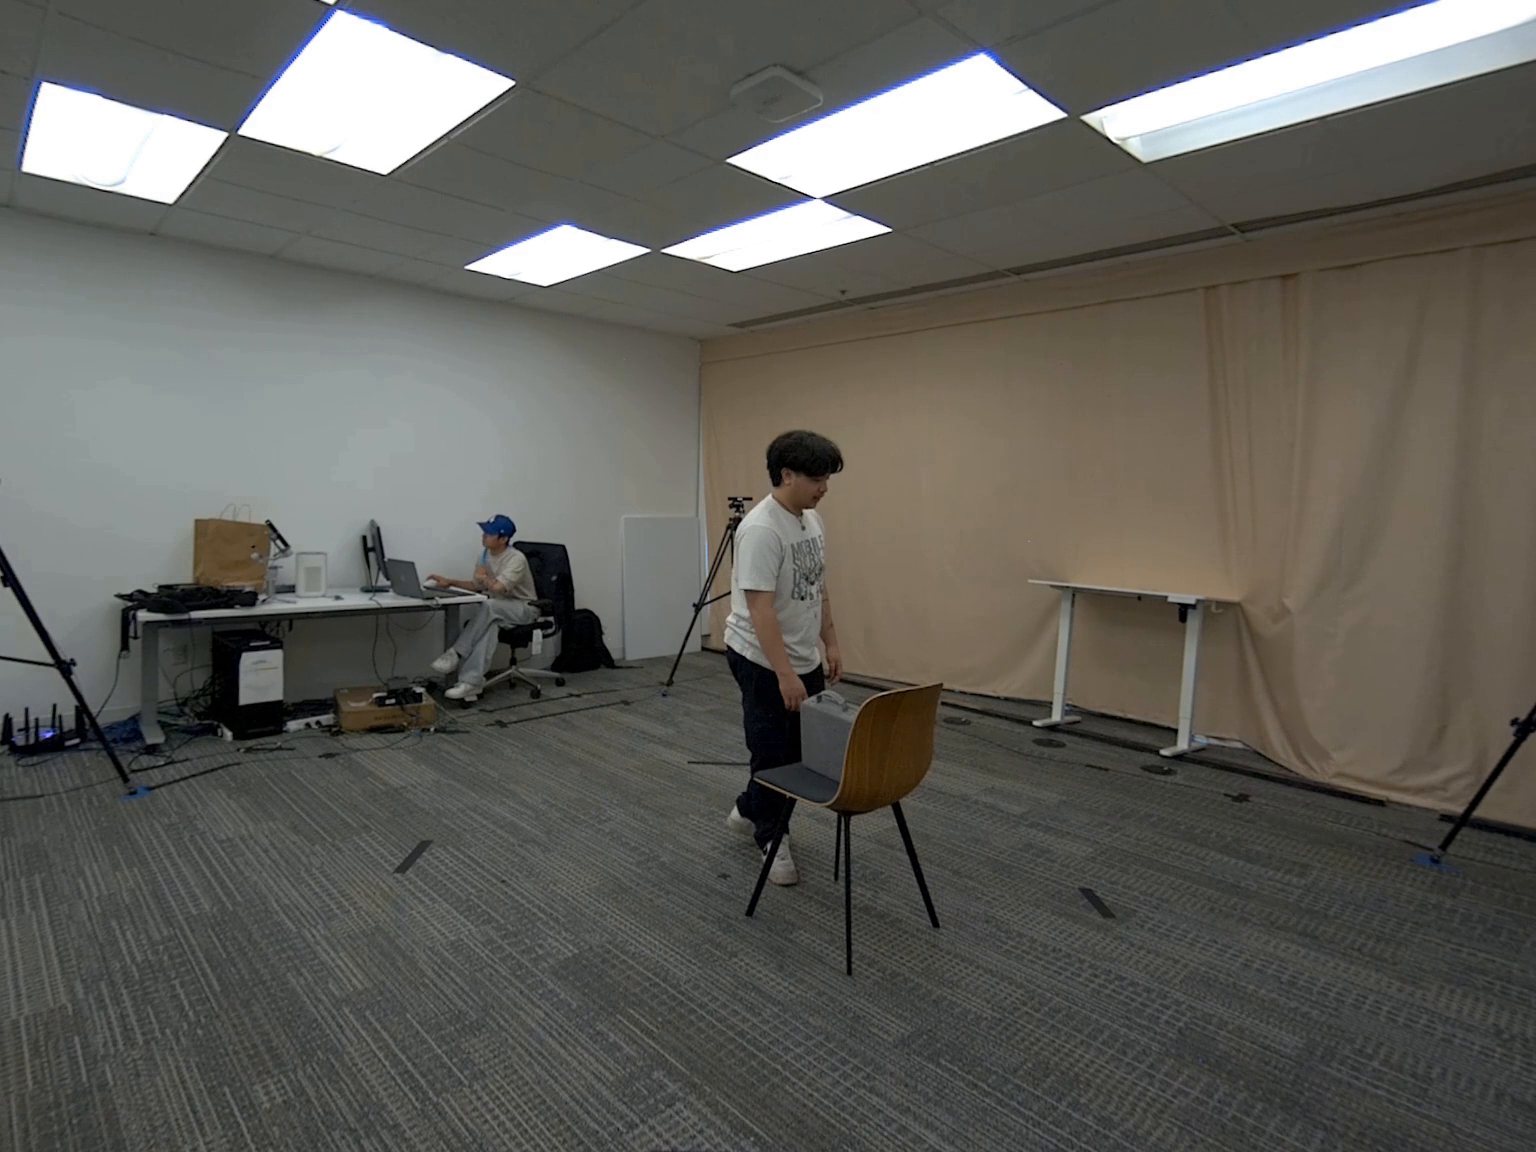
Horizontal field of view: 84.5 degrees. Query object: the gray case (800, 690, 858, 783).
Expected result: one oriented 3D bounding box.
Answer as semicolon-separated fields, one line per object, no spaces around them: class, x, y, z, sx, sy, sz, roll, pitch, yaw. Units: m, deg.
gray case;0.220;0.541;2.779;0.102;0.258;0.264;-14;17;-39
